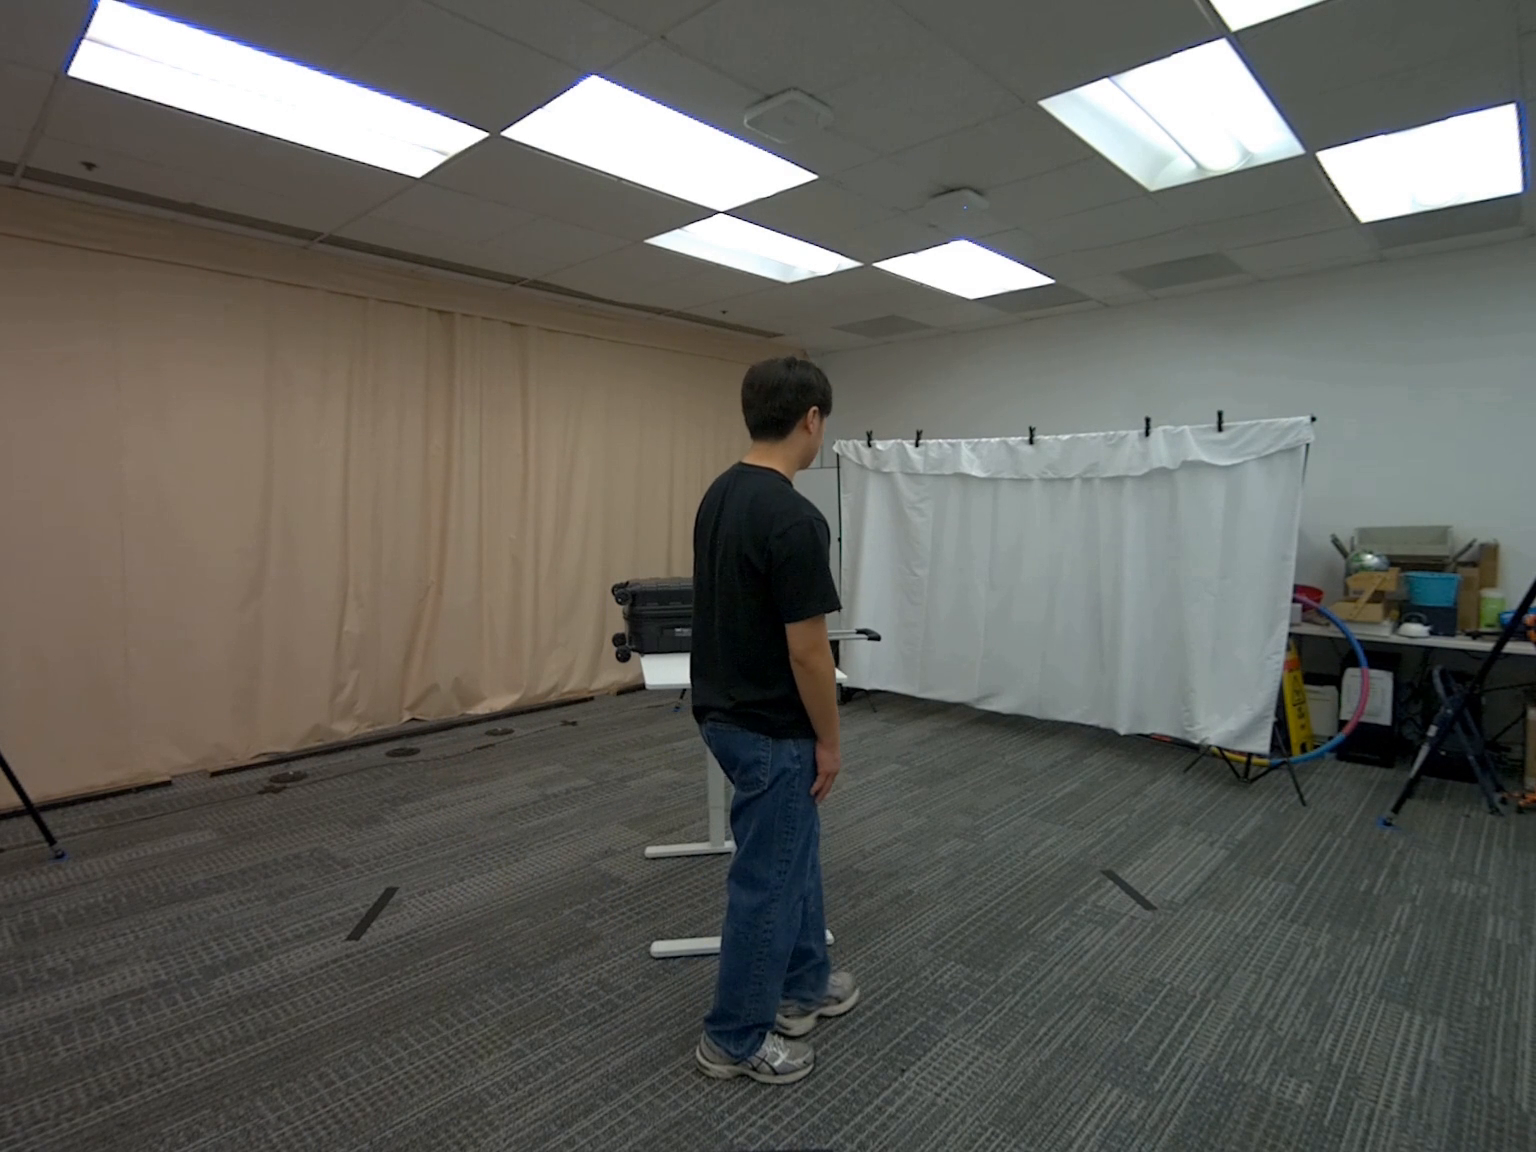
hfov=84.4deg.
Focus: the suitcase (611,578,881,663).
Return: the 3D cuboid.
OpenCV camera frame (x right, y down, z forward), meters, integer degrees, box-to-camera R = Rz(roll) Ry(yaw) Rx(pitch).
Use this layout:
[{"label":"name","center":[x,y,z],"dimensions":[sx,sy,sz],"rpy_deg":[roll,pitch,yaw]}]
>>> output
[{"label":"suitcase","center":[-0.087,0.128,3.112],"dimensions":[0.967,0.256,0.389],"rpy_deg":[-4,5,-11]}]
